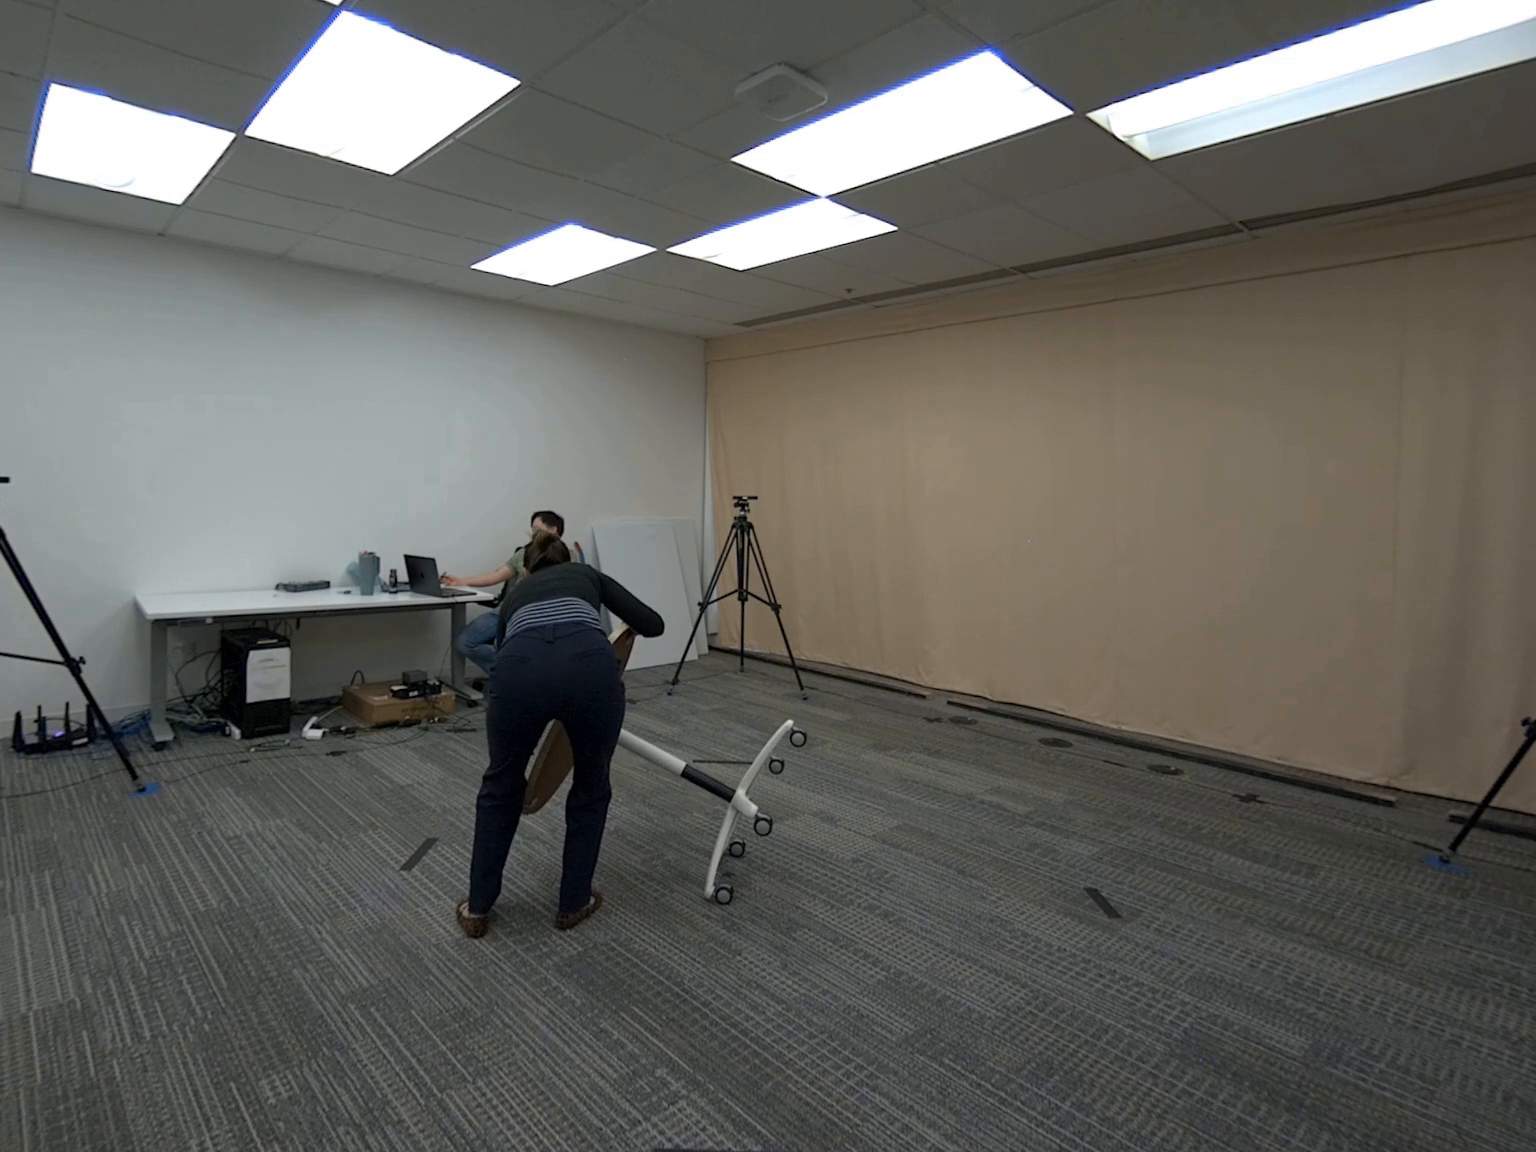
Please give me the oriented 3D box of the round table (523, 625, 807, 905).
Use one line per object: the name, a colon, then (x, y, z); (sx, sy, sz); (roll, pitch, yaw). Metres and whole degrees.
round table: (-0.352, 0.694, 3.094); (0.799, 0.762, 0.761); (27, 7, 5)
